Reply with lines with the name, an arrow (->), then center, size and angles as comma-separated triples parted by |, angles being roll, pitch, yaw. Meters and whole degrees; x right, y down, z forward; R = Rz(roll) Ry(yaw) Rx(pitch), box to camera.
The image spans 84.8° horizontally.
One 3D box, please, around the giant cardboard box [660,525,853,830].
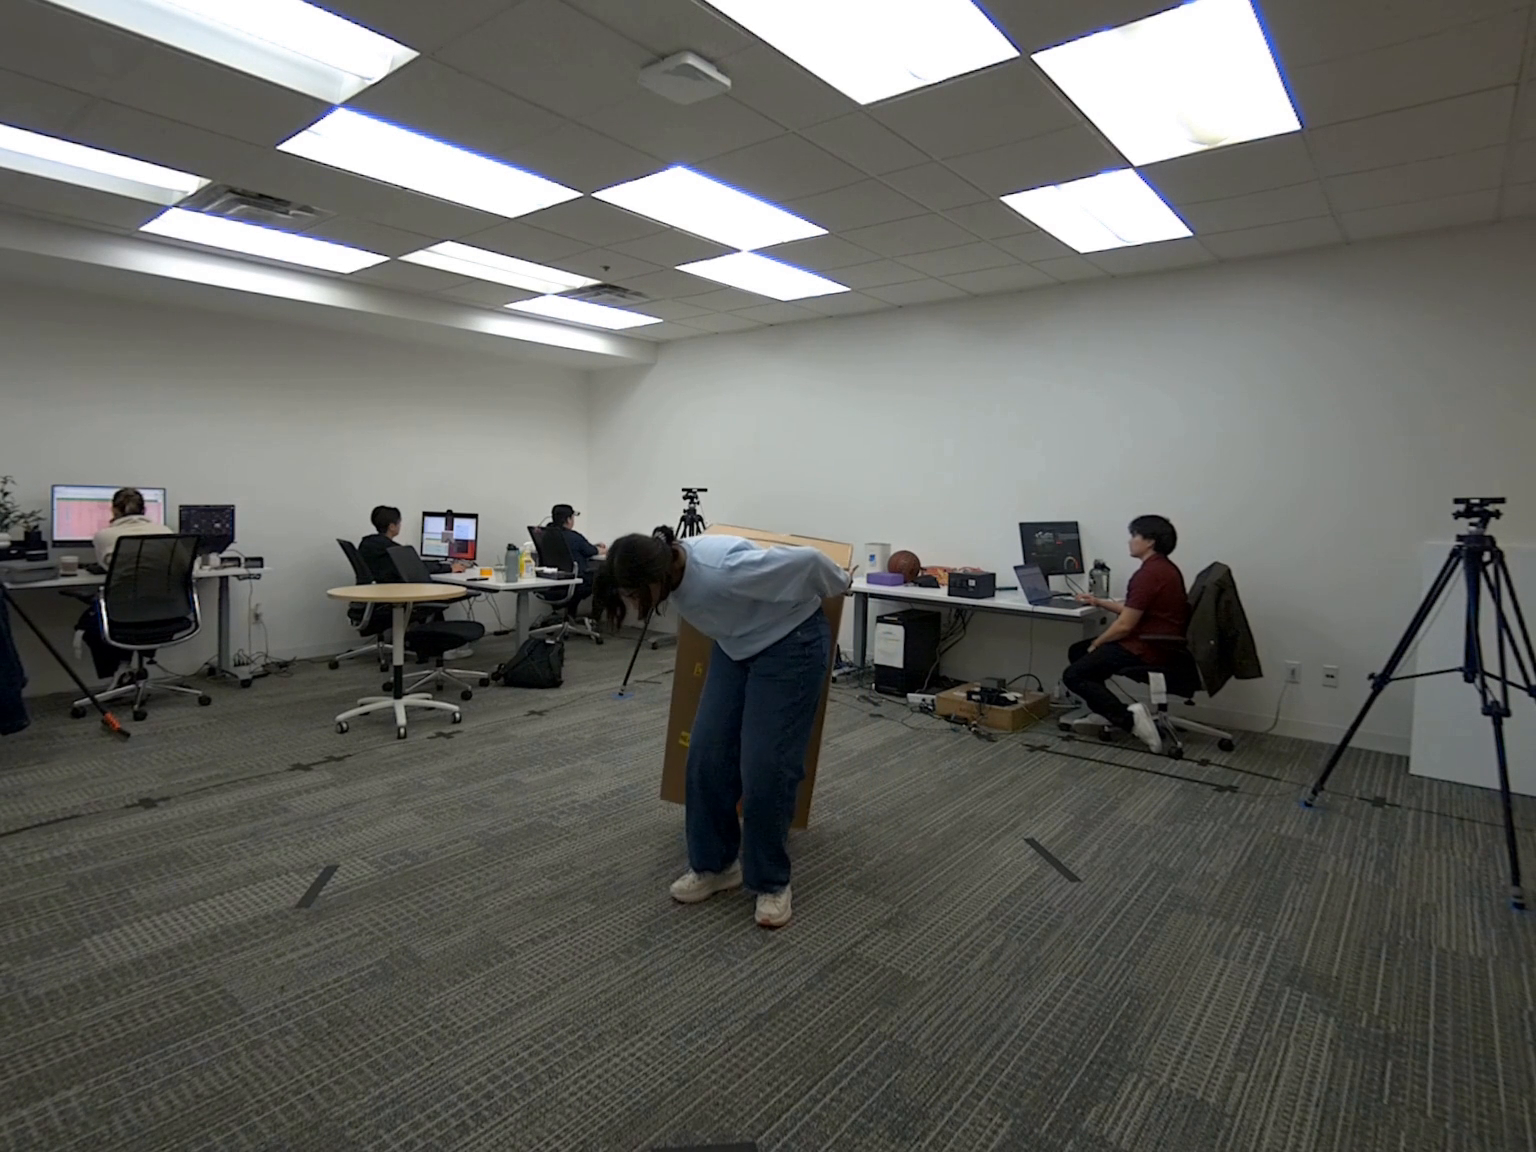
giant cardboard box -> -0.047, 0.368, 3.311 | 0.584, 1.016, 0.426 | 10, 12, 8
